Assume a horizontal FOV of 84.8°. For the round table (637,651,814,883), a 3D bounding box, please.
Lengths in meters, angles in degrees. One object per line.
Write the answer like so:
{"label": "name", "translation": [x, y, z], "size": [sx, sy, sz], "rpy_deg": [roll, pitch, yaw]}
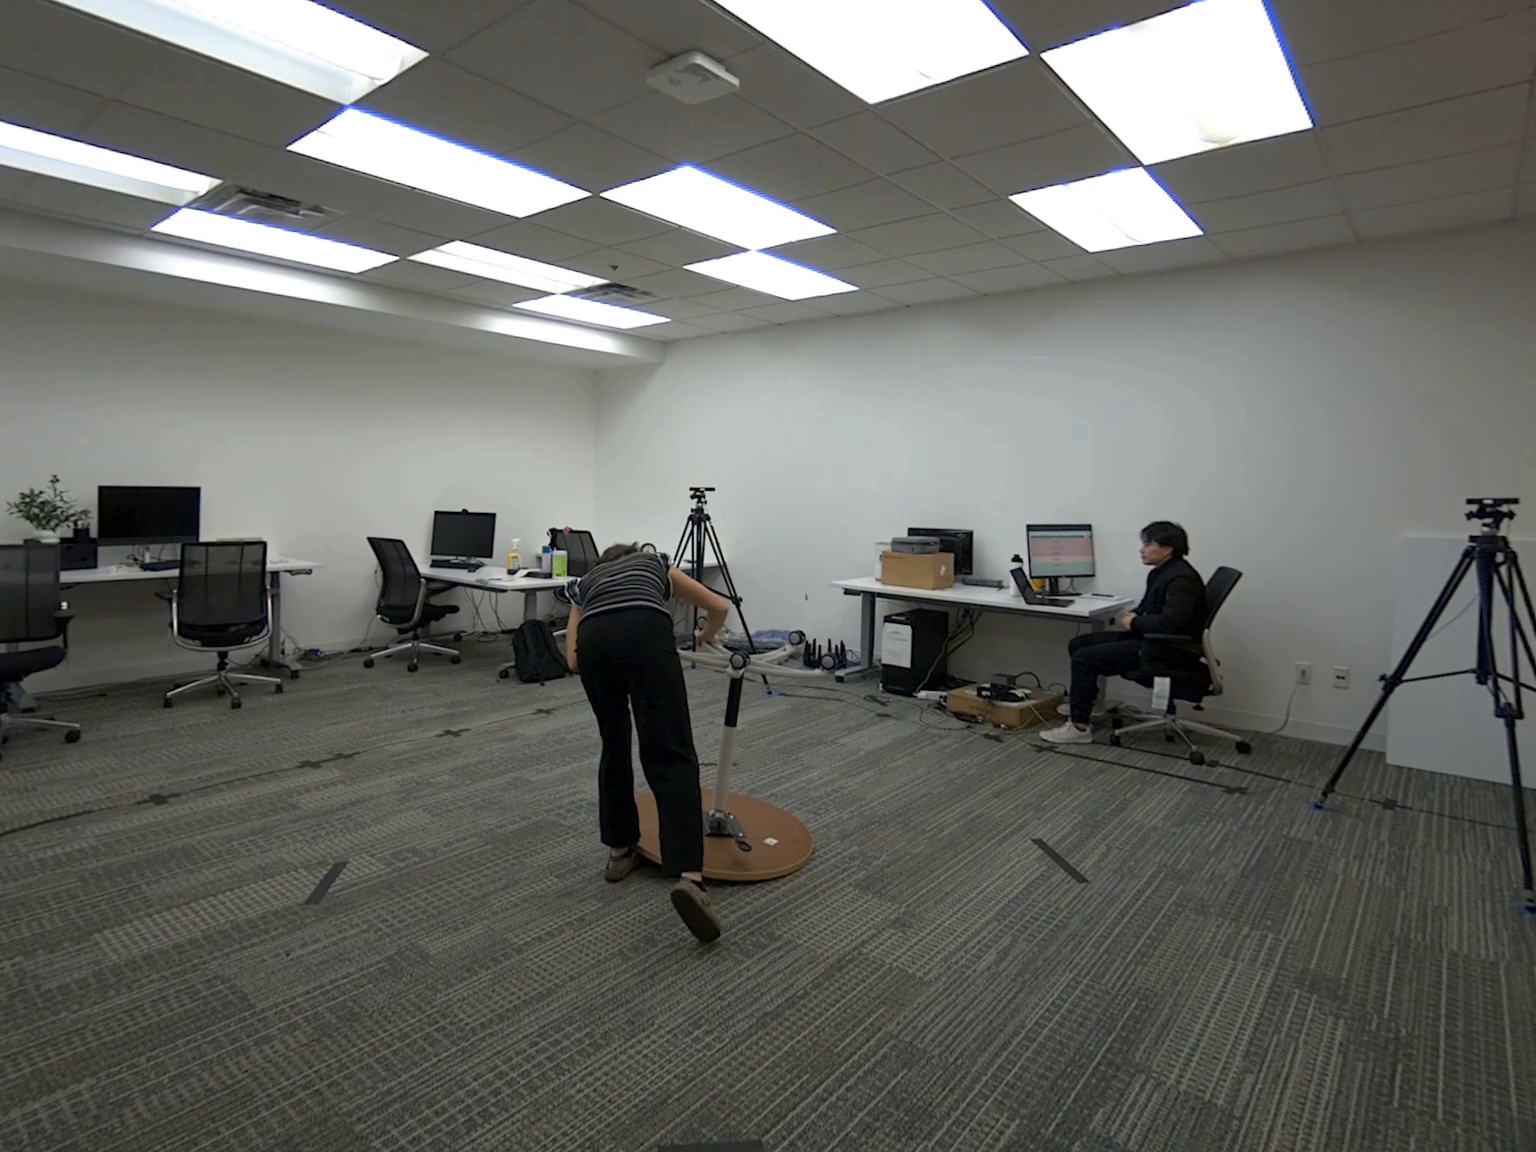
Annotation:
{"label": "round table", "translation": [-0.164, 0.617, 3.315], "size": [0.763, 0.791, 0.768], "rpy_deg": [7, 5, -2]}
